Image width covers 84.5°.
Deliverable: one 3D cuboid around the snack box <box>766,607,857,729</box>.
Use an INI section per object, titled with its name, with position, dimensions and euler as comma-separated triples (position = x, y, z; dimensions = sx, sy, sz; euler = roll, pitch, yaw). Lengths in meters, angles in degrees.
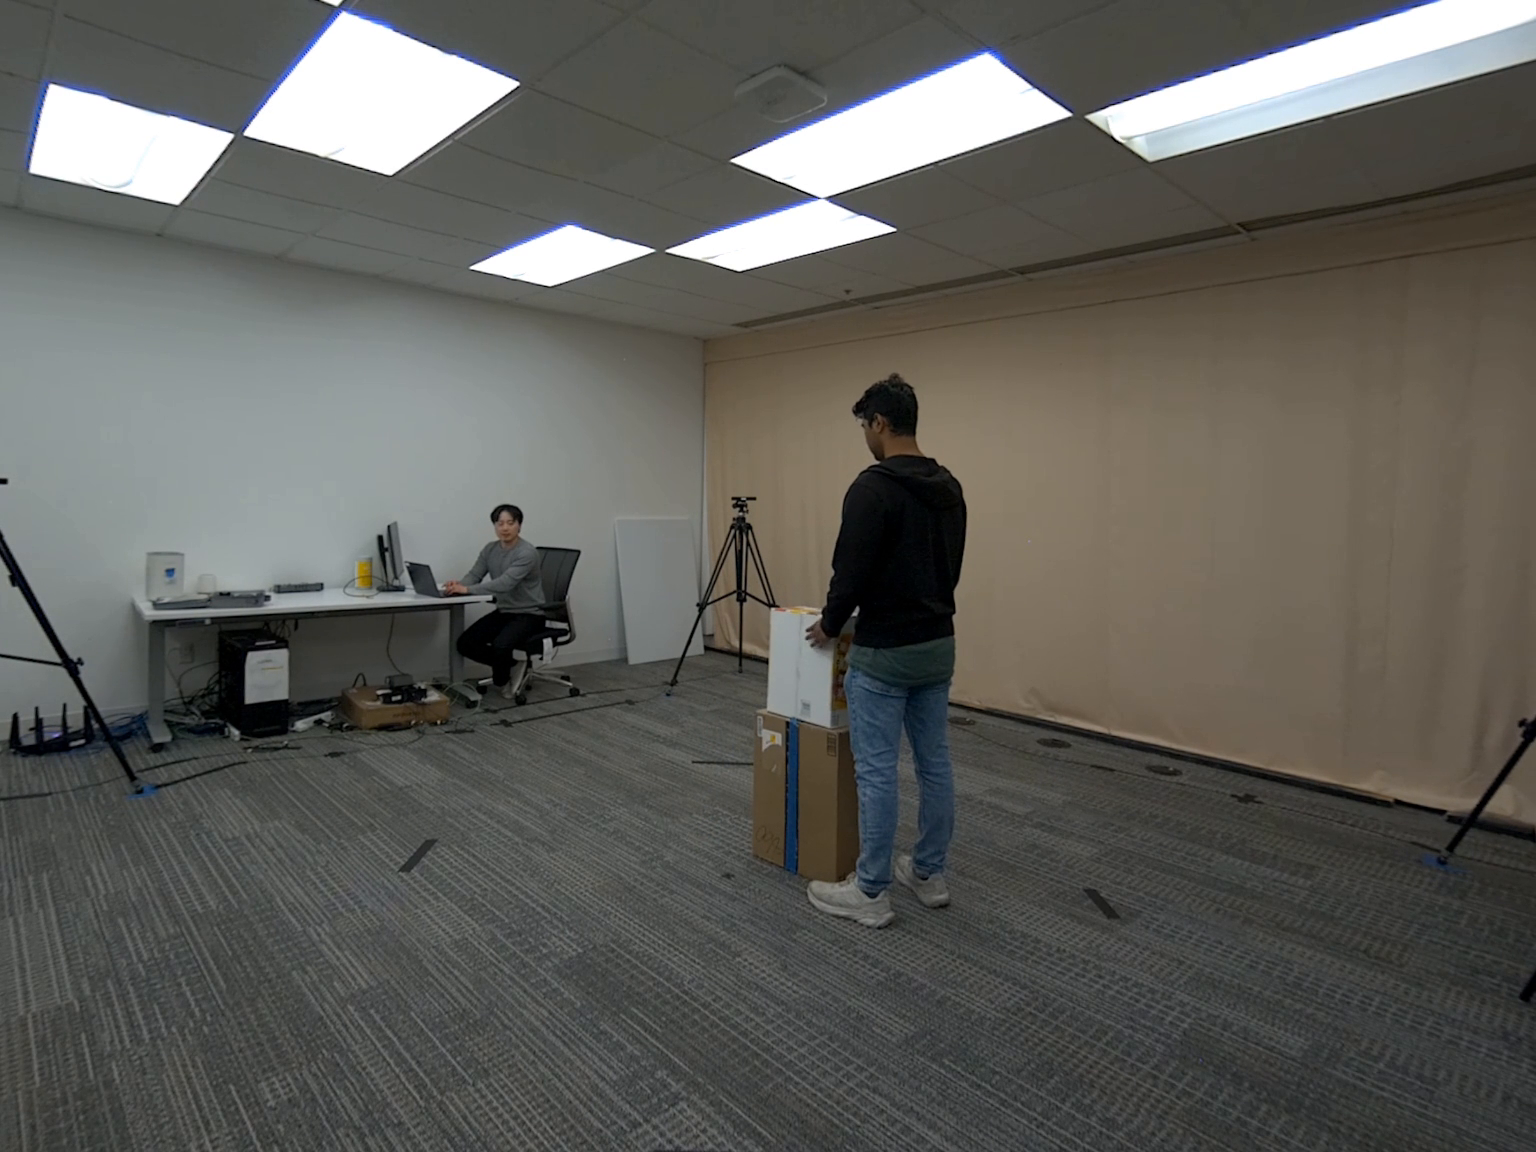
[snack box]
position = 0.182, 0.336, 3.209
dimensions = 0.201, 0.404, 0.349
euler = 0, 4, -42
